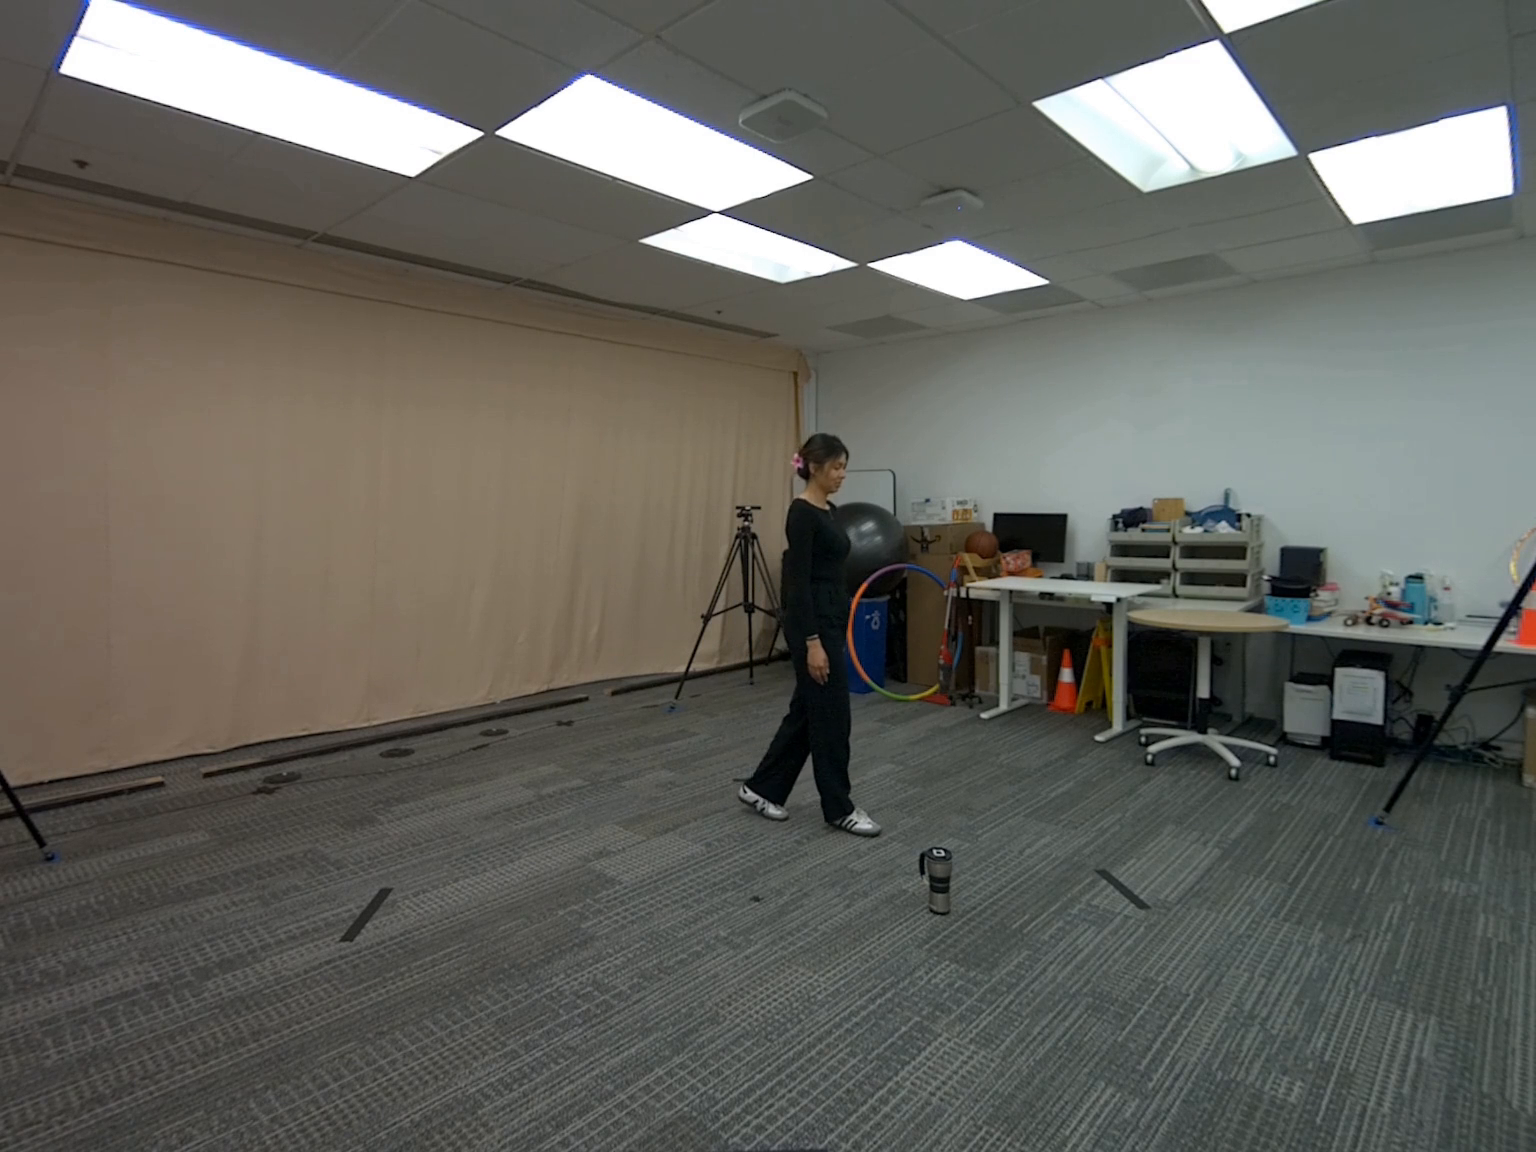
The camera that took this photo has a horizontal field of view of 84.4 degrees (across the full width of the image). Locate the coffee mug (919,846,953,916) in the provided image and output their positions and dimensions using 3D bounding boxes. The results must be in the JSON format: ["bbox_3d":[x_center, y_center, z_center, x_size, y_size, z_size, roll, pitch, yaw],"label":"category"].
[{"bbox_3d":[0.596,1.051,2.906,0.087,0.202,0.124,-3,6,-14],"label":"coffee mug"}]
